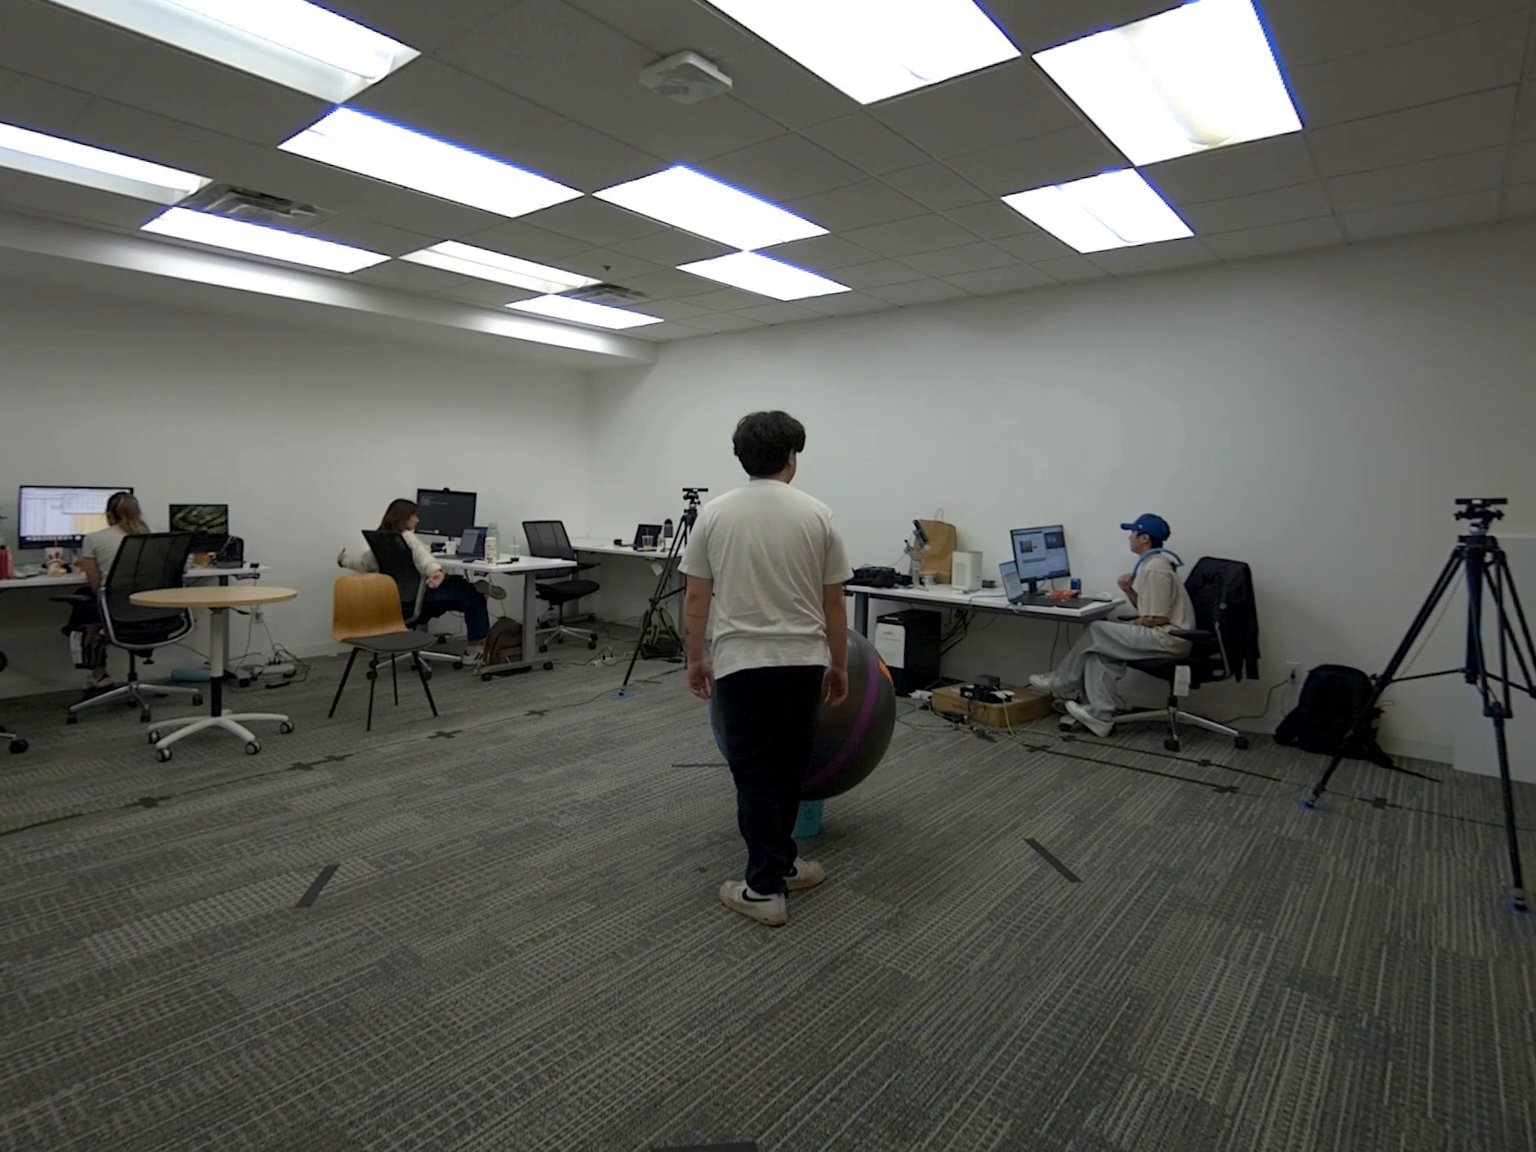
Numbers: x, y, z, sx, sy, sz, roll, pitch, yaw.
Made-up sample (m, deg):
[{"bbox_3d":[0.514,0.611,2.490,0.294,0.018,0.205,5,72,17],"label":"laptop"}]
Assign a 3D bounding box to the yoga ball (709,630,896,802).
[{"bbox_3d":[0.130,0.527,3.486,0.757,0.755,0.762,1,4,-2],"label":"yoga ball"}]
